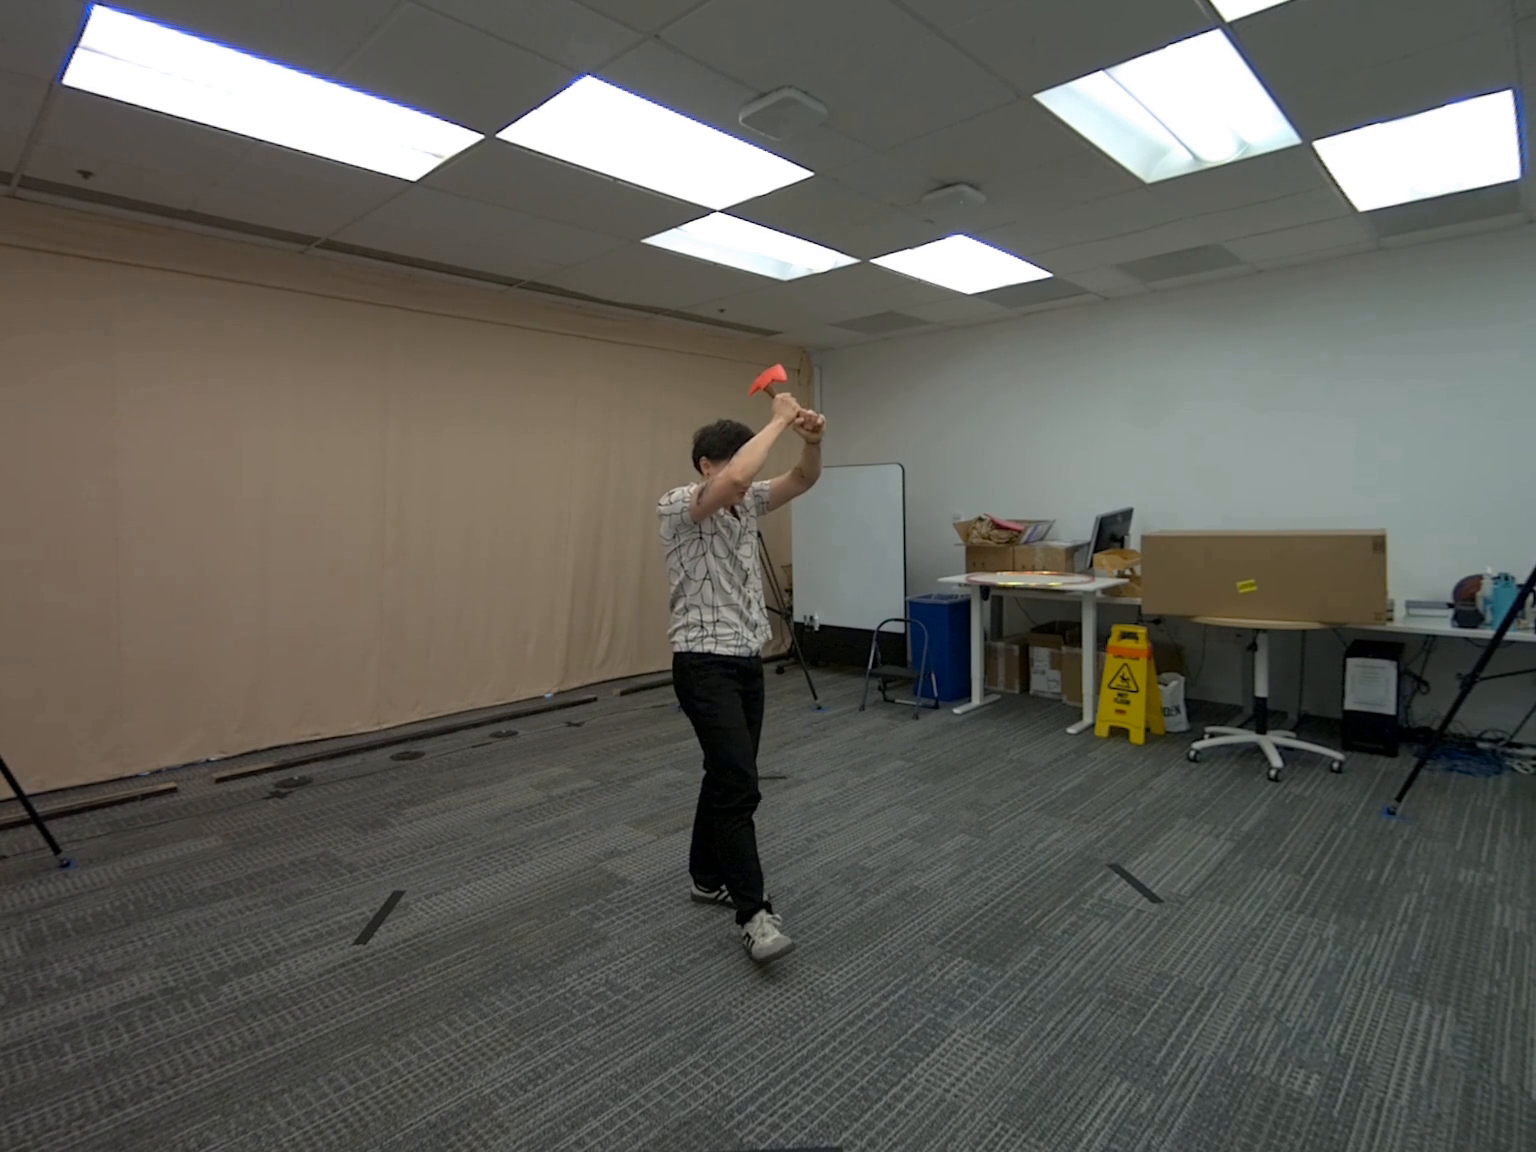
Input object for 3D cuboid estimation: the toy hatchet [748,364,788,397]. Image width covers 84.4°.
[{"bbox_3d":[0.081,-0.562,2.595,0.277,0.131,0.029,32,5,21],"label":"toy hatchet"}]
